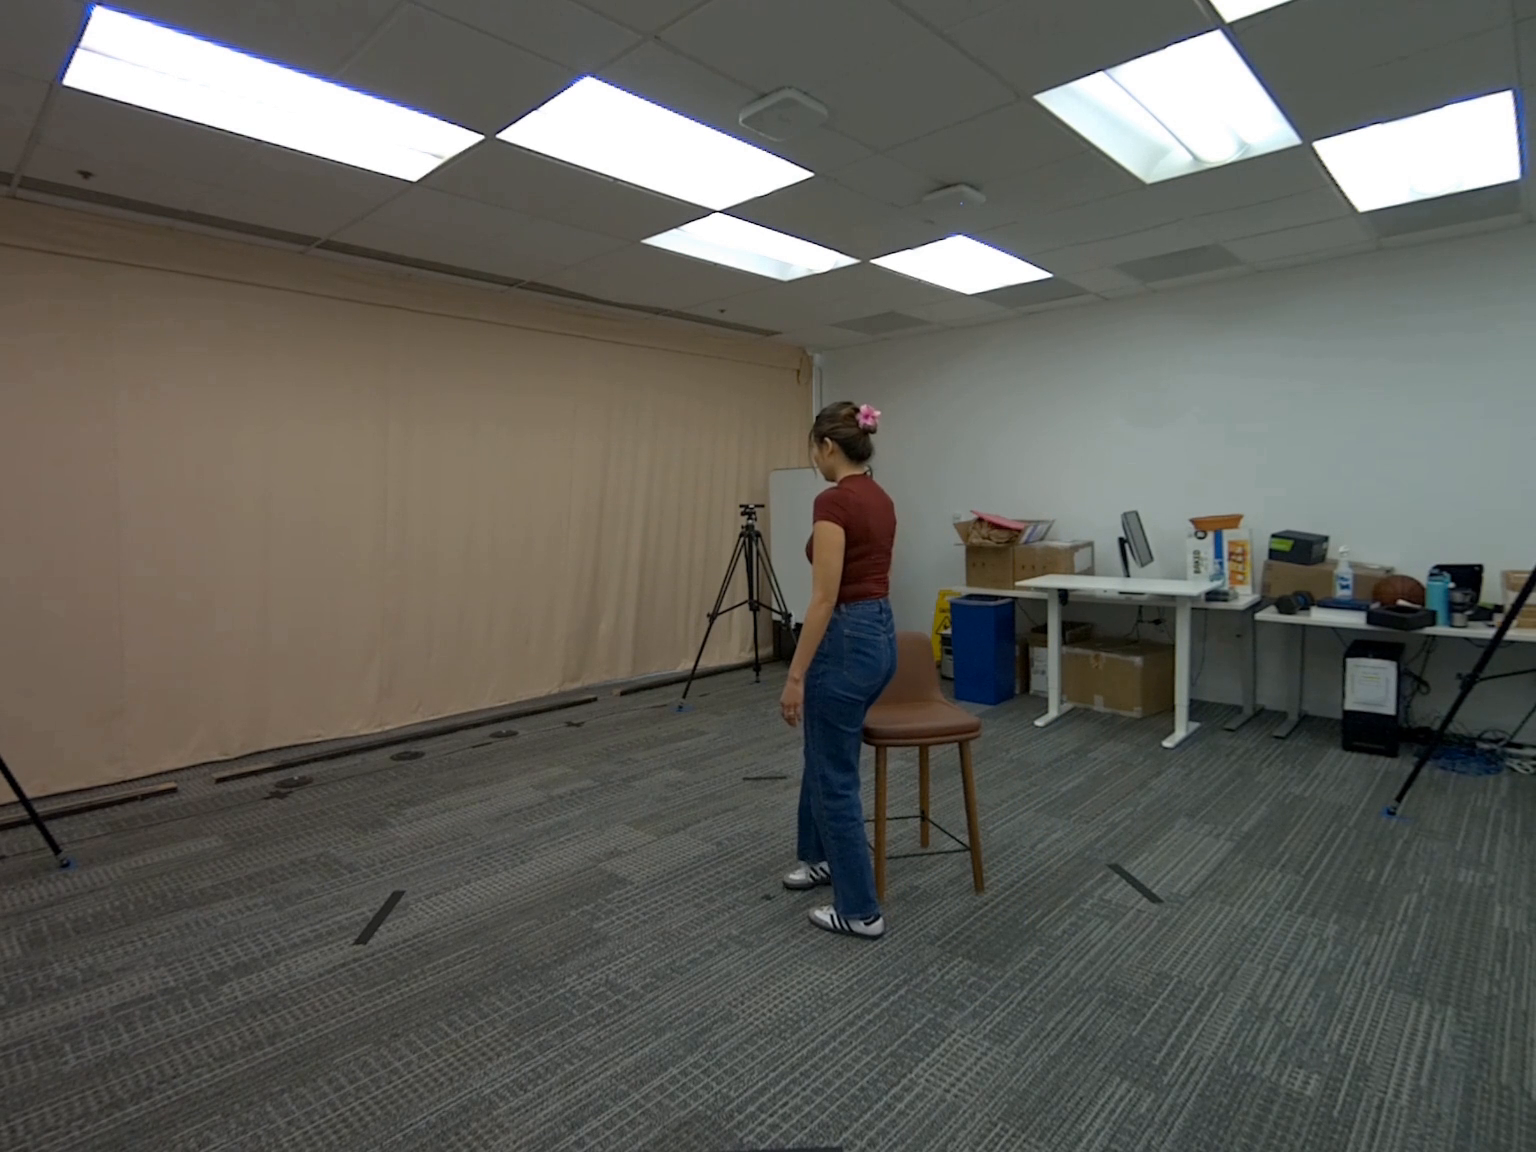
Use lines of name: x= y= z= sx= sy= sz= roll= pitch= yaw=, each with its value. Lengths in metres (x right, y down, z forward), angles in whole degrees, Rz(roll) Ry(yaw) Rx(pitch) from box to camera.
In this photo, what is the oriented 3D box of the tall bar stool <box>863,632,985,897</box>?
tall bar stool: x=0.520 y=0.683 z=3.156 sx=0.450 sy=0.889 sz=0.474 roll=-1 pitch=1 yaw=-14
